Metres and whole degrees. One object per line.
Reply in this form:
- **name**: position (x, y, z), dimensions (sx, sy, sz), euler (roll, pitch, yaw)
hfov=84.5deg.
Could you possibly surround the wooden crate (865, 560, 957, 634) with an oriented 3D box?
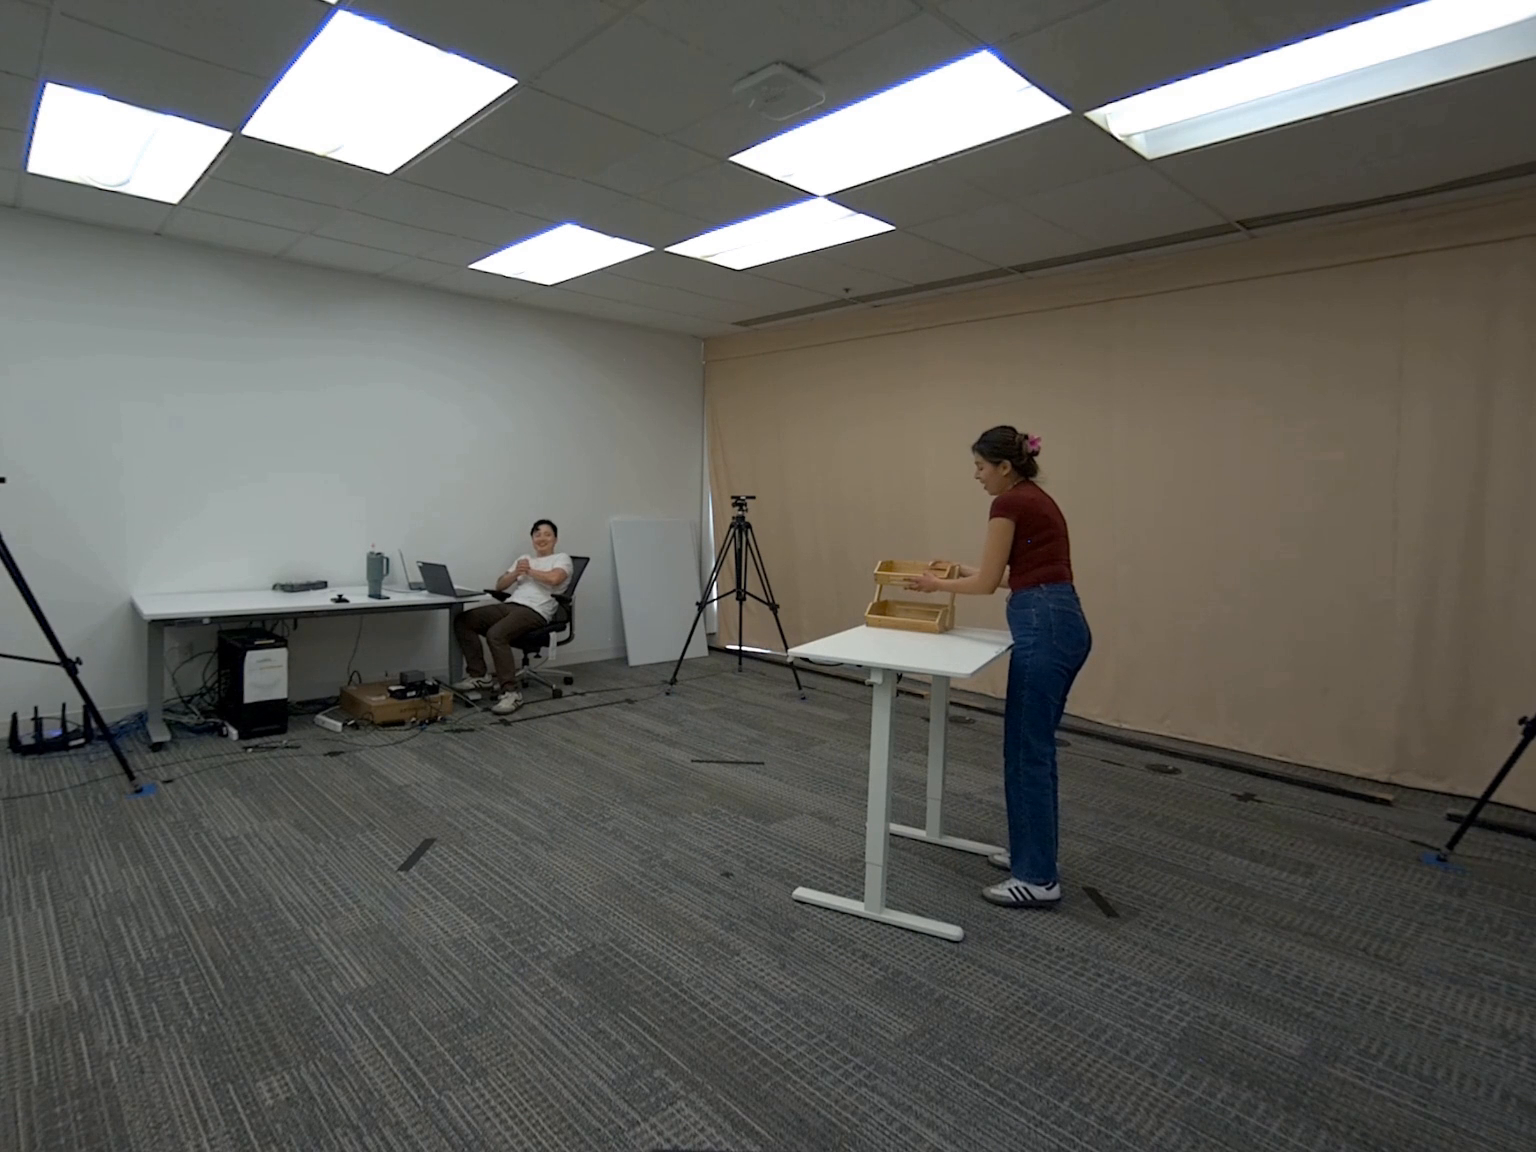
- **wooden crate**: position (0.590, 0.073, 3.462), dimensions (0.331, 0.272, 0.296), euler (5, 5, 27)
